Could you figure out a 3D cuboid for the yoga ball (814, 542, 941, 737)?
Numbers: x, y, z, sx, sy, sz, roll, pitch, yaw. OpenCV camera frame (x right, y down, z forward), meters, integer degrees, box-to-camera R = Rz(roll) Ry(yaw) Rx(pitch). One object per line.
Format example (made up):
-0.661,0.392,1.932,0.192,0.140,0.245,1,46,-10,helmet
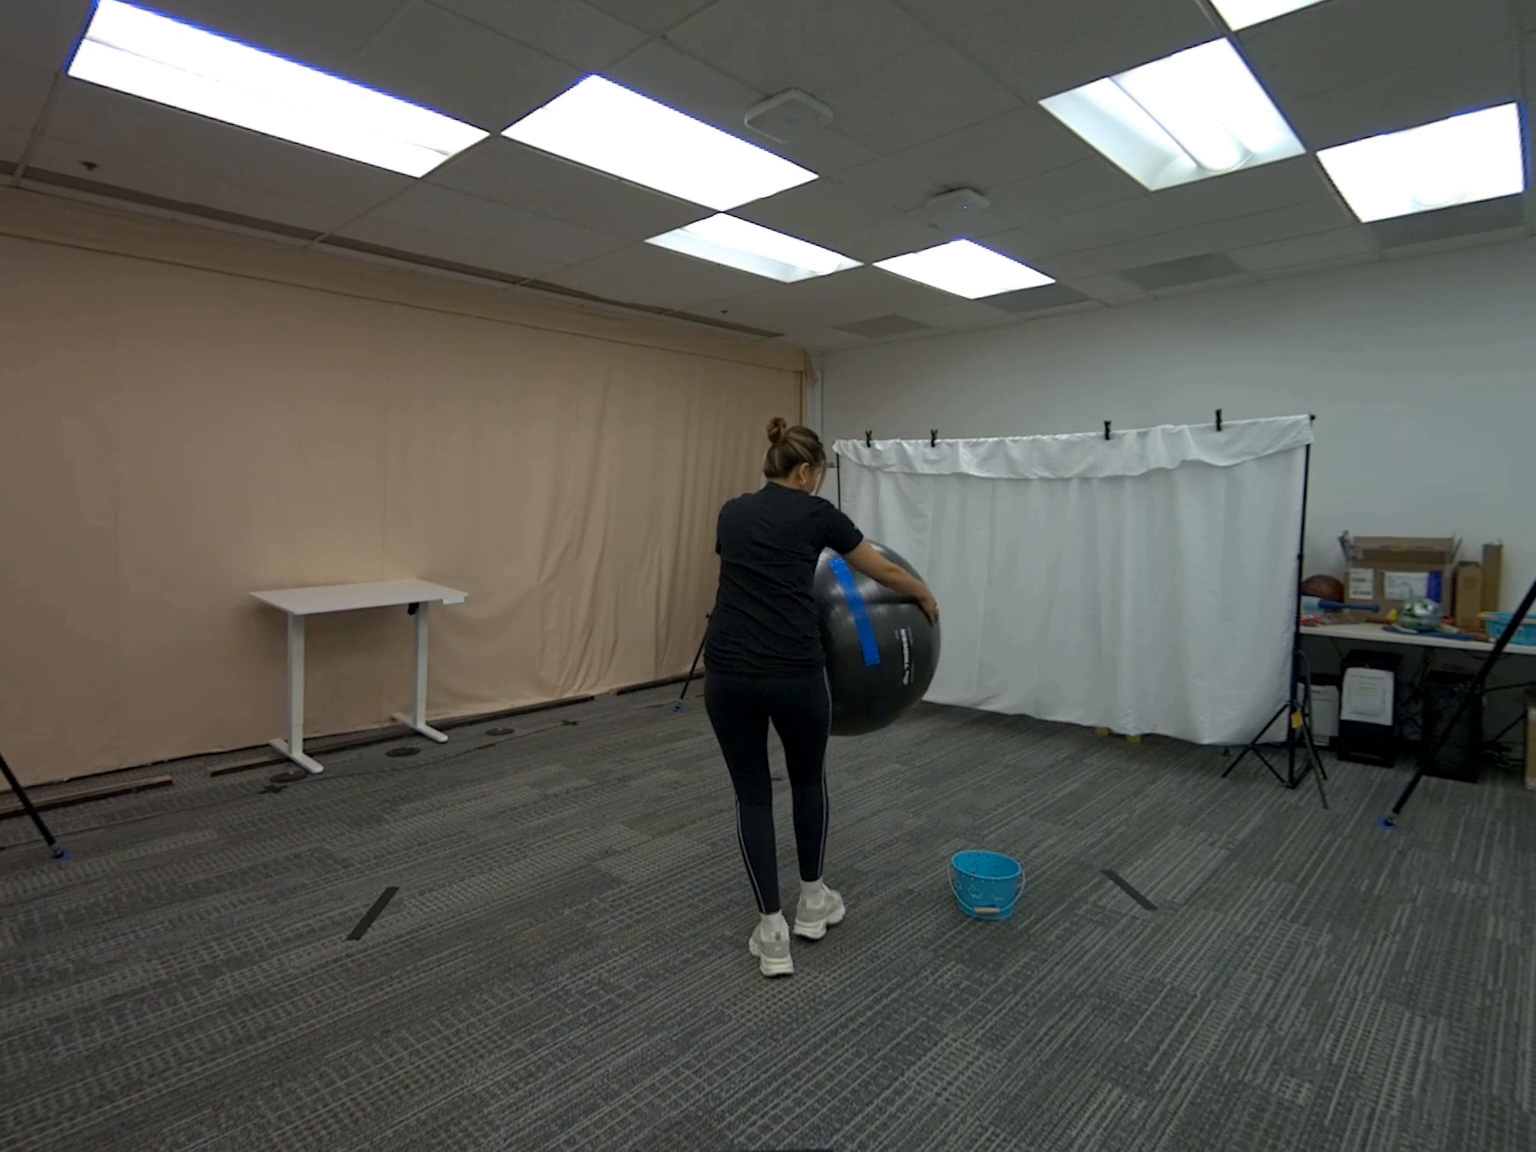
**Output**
0.276,0.238,3.205,0.757,0.756,0.761,0,4,-2,yoga ball
